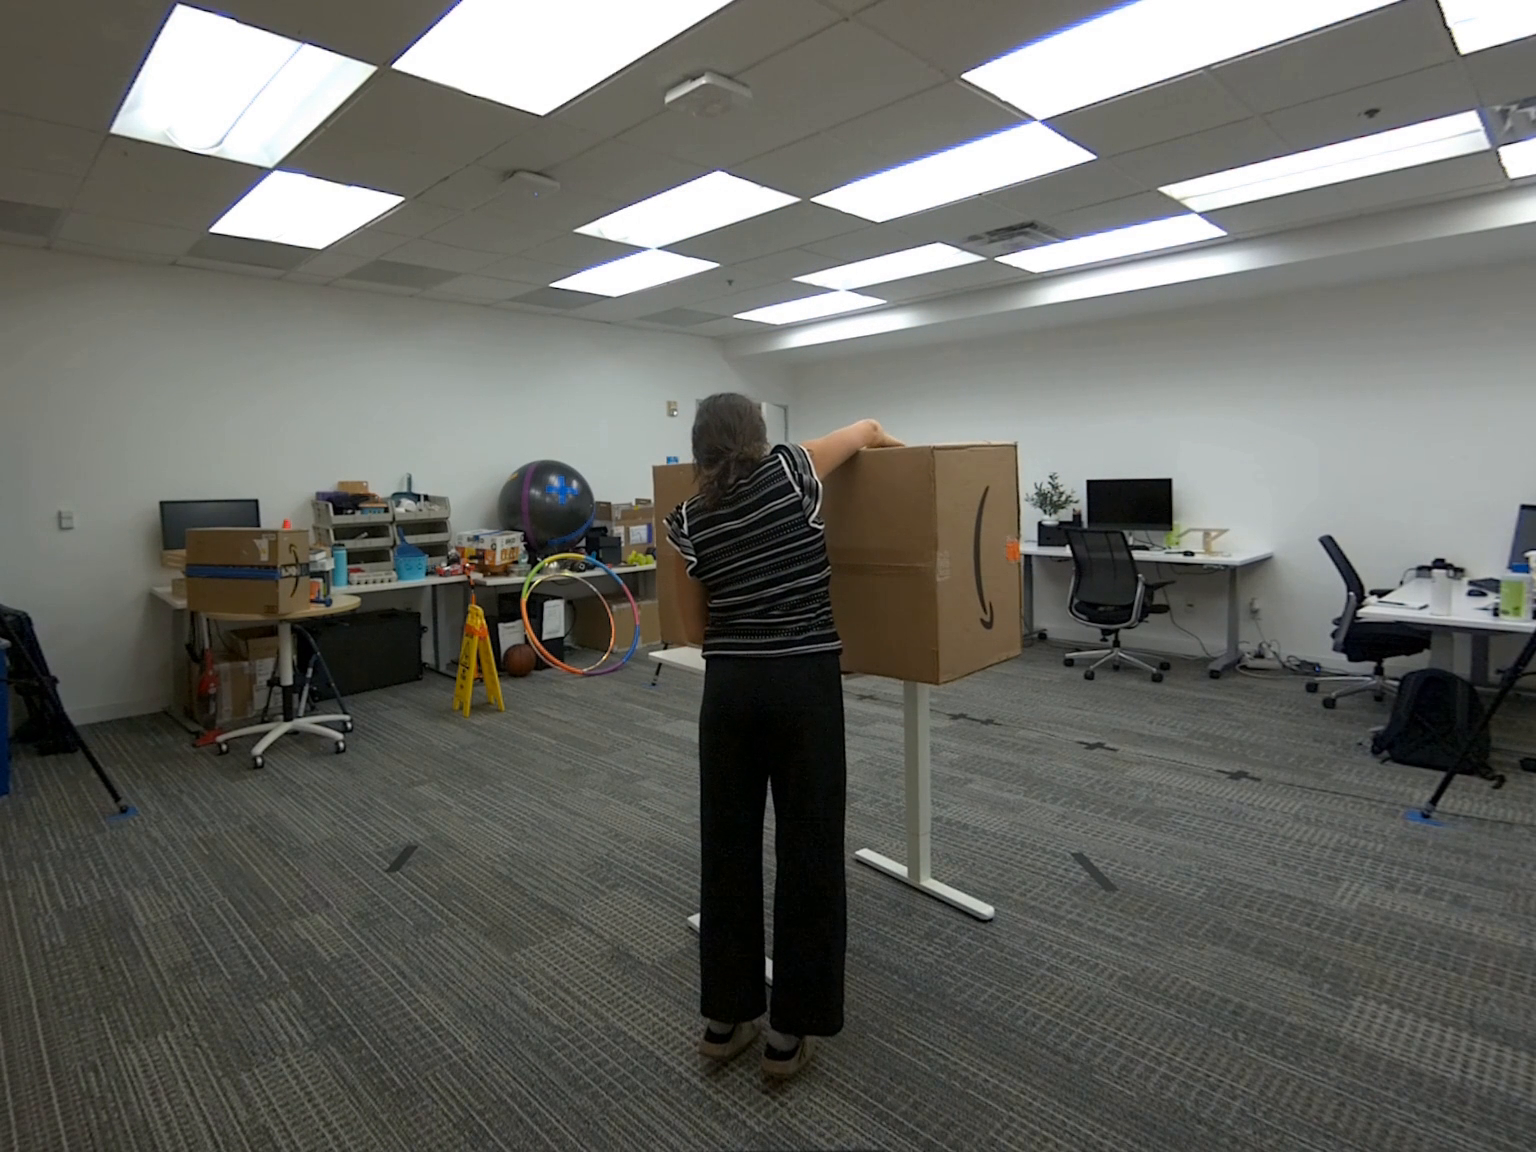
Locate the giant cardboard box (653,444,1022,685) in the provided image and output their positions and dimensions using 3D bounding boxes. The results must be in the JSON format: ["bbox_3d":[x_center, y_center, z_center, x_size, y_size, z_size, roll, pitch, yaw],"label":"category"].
[{"bbox_3d":[0.165,-0.073,2.522,1.057,0.575,0.415,3,7,44],"label":"giant cardboard box"}]
